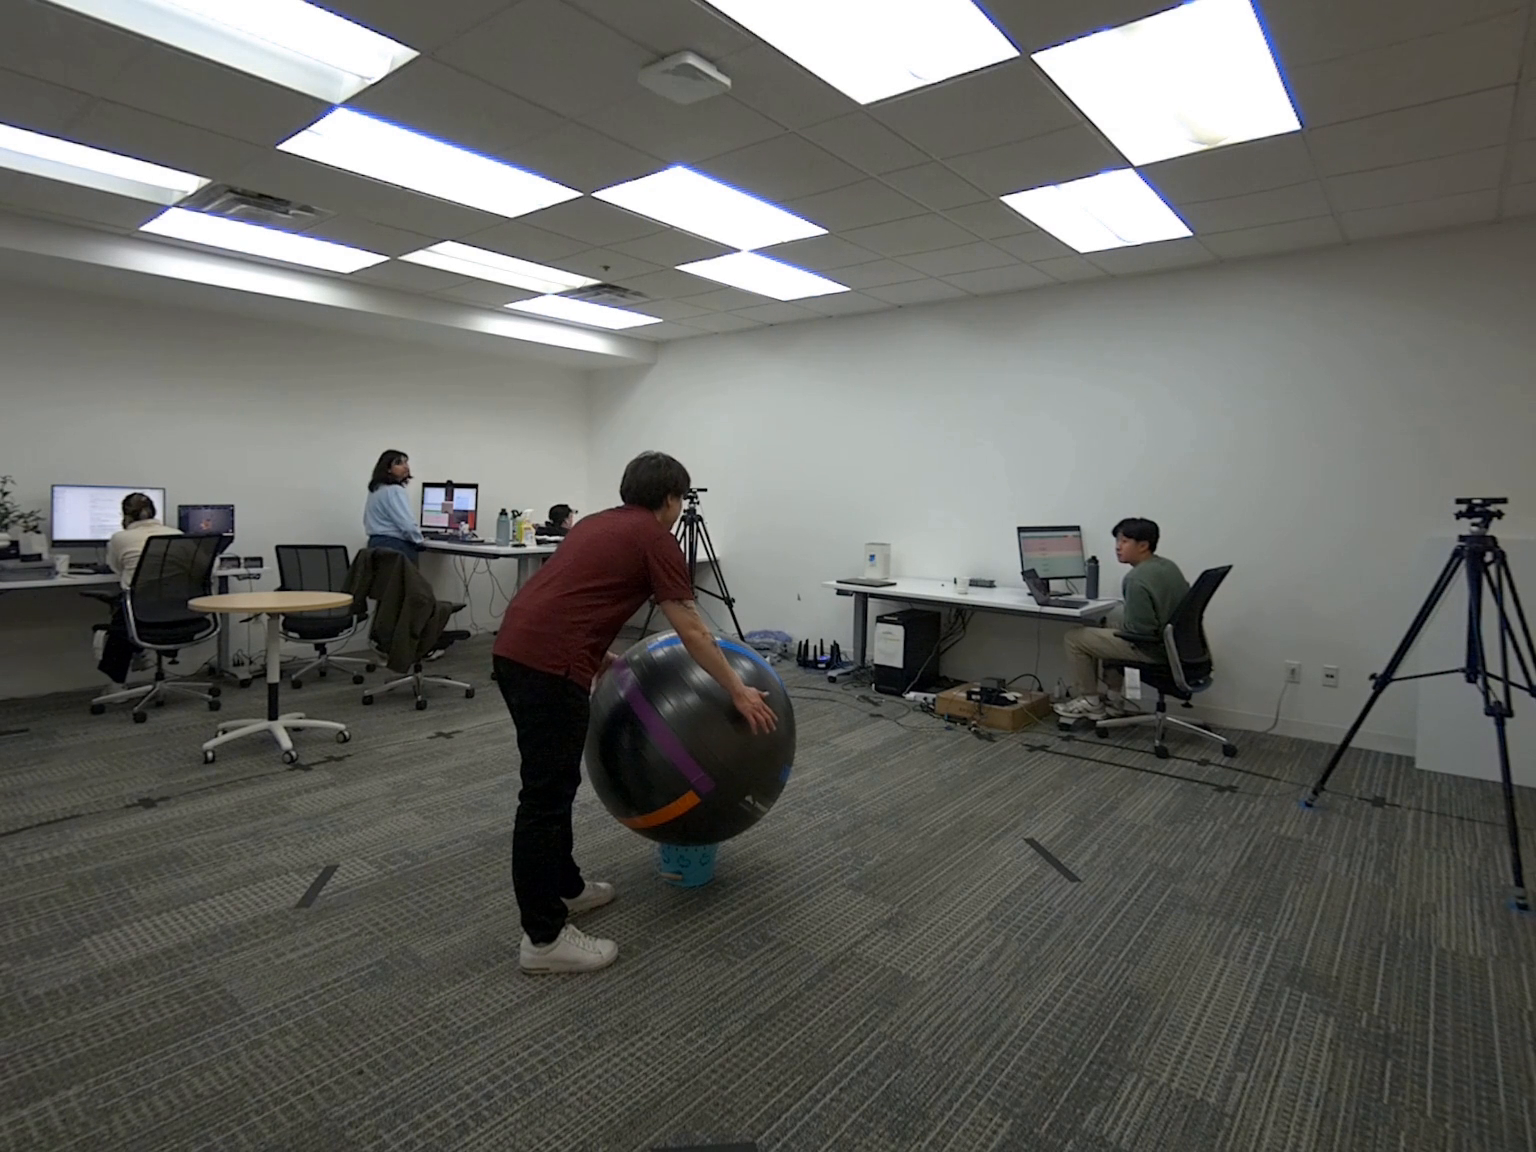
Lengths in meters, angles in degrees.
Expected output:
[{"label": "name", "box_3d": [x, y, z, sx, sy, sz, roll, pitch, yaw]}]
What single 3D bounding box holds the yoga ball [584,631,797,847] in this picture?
[{"label": "yoga ball", "box_3d": [-0.283, 0.563, 3.037, 0.757, 0.756, 0.761, 1, 4, -2]}]
